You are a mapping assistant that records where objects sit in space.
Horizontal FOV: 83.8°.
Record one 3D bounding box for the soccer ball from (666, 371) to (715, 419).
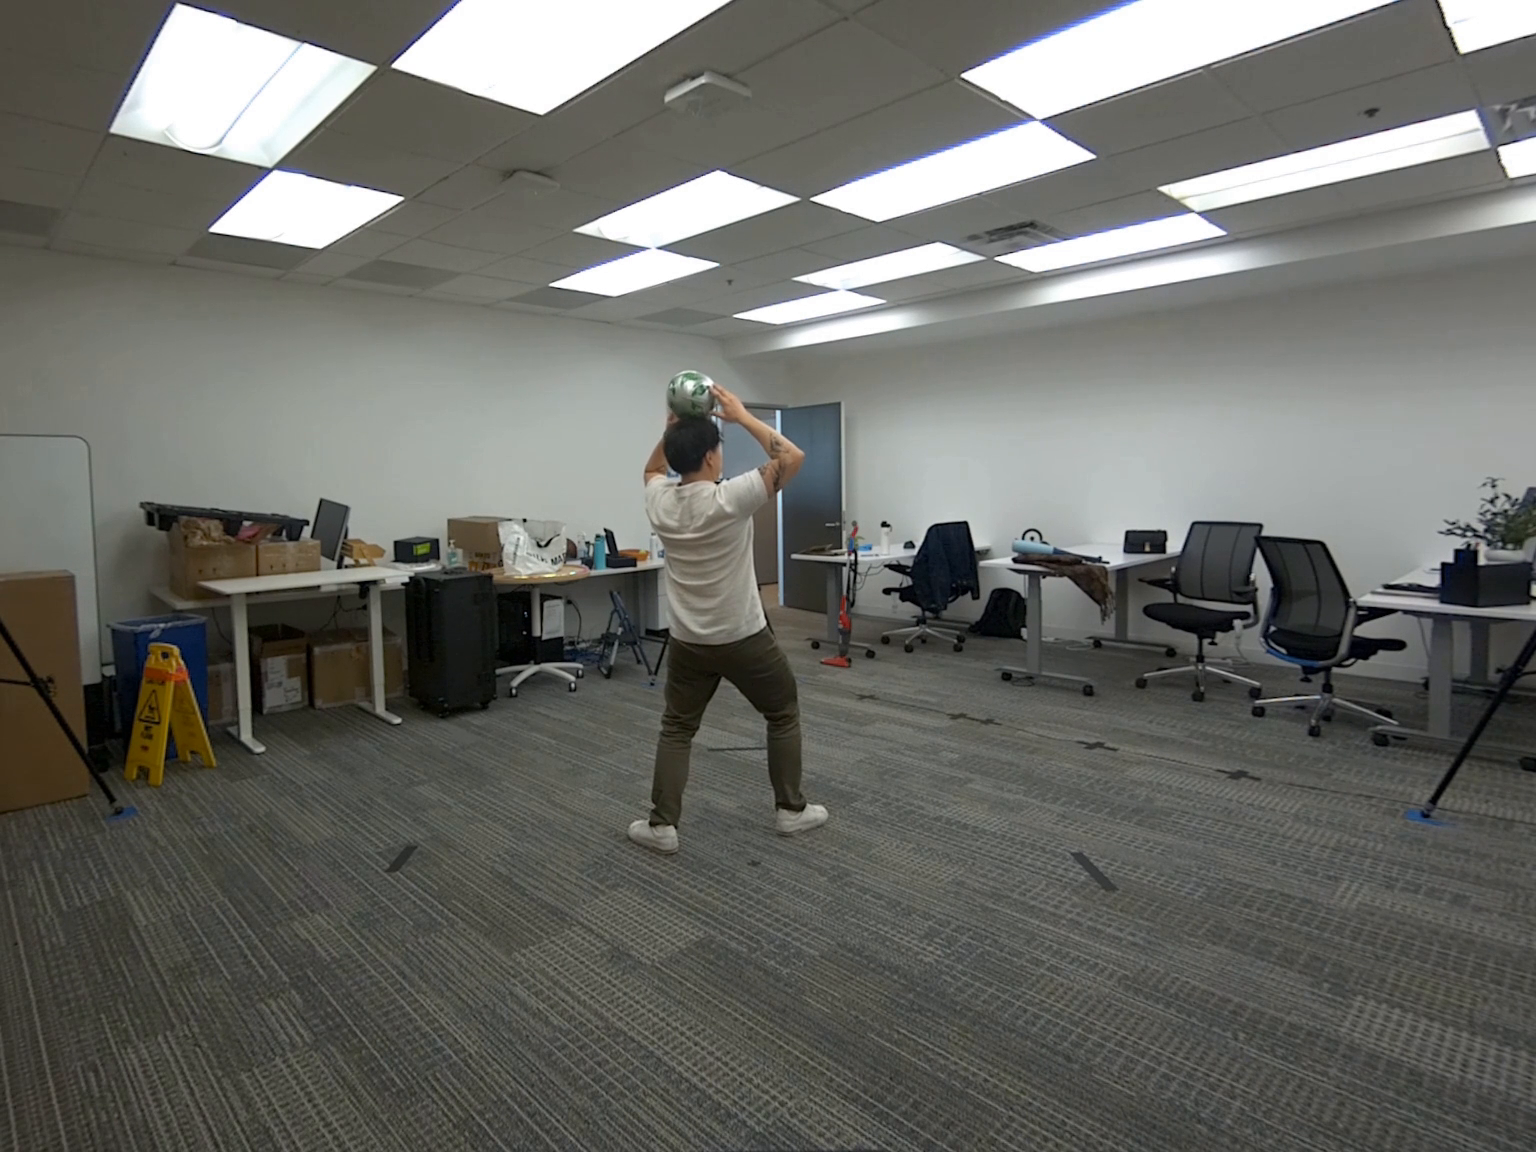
[{"bbox_3d":[-0.285,-0.659,3.137,0.187,0.187,0.188,-1,5,-2],"label":"soccer ball"}]
